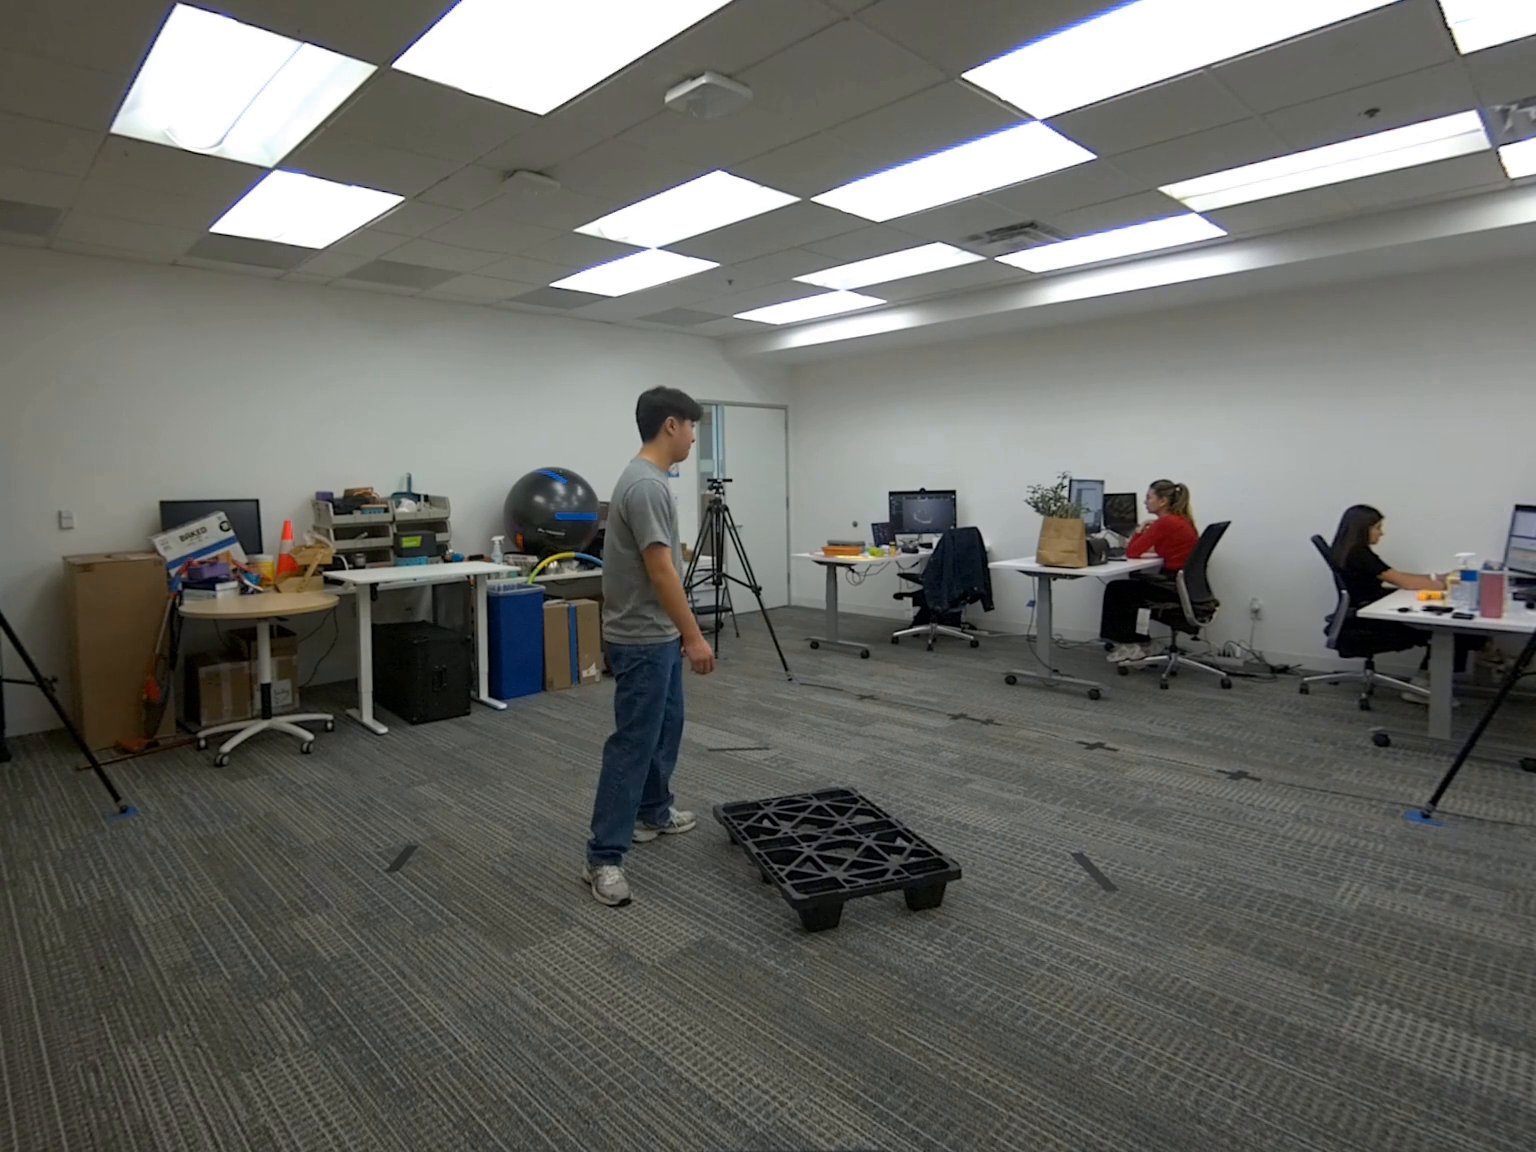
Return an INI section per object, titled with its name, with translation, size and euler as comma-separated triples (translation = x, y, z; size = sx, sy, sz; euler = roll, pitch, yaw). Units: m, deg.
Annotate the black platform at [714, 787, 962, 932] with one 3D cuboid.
[black platform]
translation = 0.208, 0.983, 3.031
size = 0.595, 0.142, 0.823
euler = -4, 7, -20
